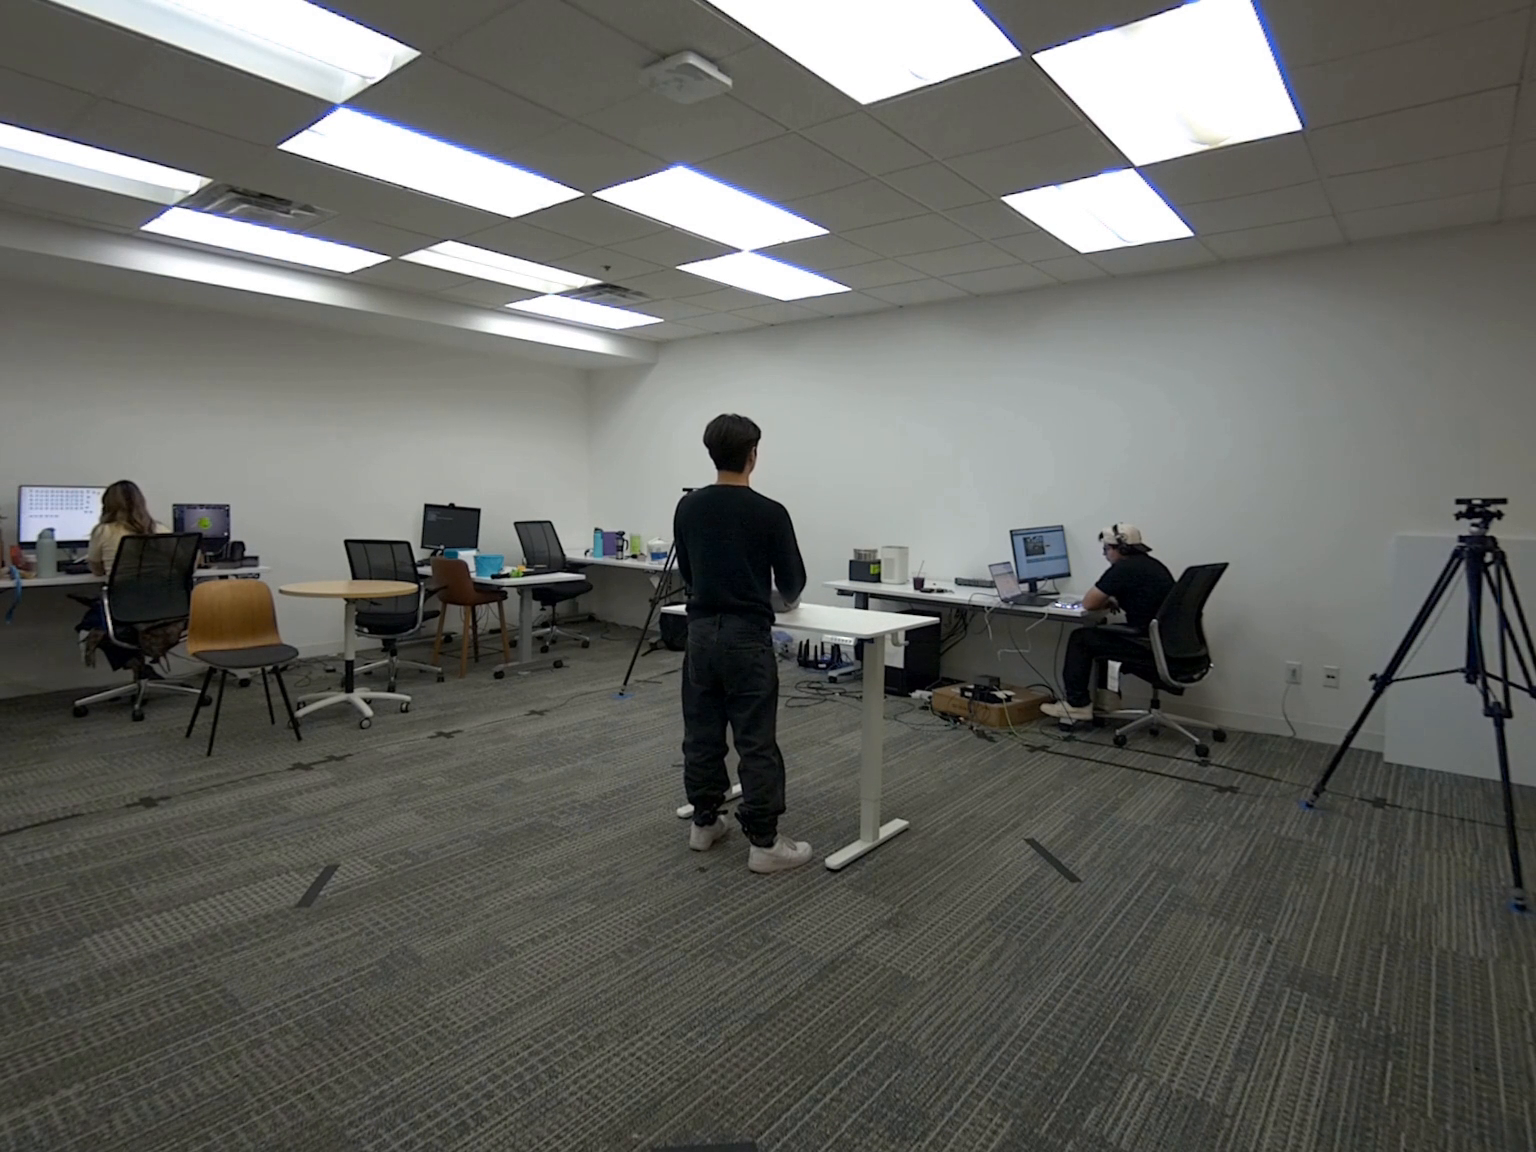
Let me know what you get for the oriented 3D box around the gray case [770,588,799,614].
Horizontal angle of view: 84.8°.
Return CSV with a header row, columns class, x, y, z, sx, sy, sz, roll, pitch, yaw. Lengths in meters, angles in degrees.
class,x,y,z,sx,sy,sz,roll,pitch,yaw
gray case,-0.009,0.085,3.670,0.264,0.104,0.255,4,6,25
